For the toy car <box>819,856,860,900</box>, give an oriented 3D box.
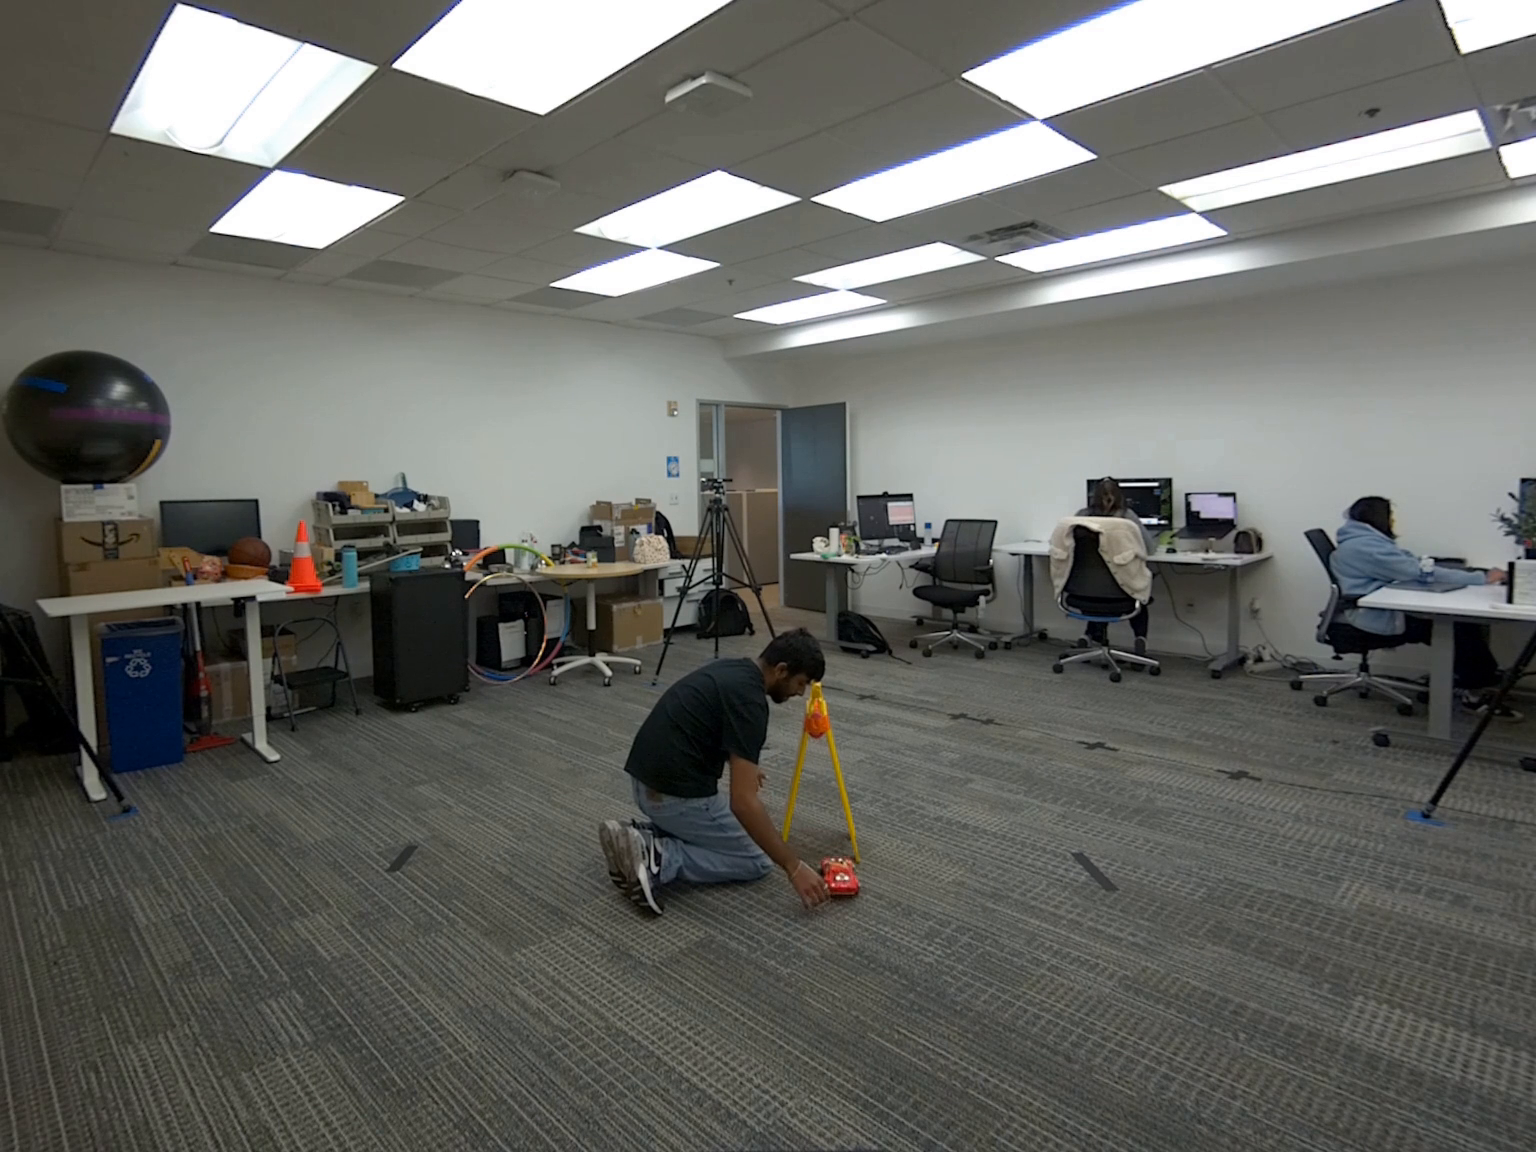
[{"bbox_3d":[0.240,1.022,2.925,0.130,0.084,0.253,0,-5,-1],"label":"toy car"}]
